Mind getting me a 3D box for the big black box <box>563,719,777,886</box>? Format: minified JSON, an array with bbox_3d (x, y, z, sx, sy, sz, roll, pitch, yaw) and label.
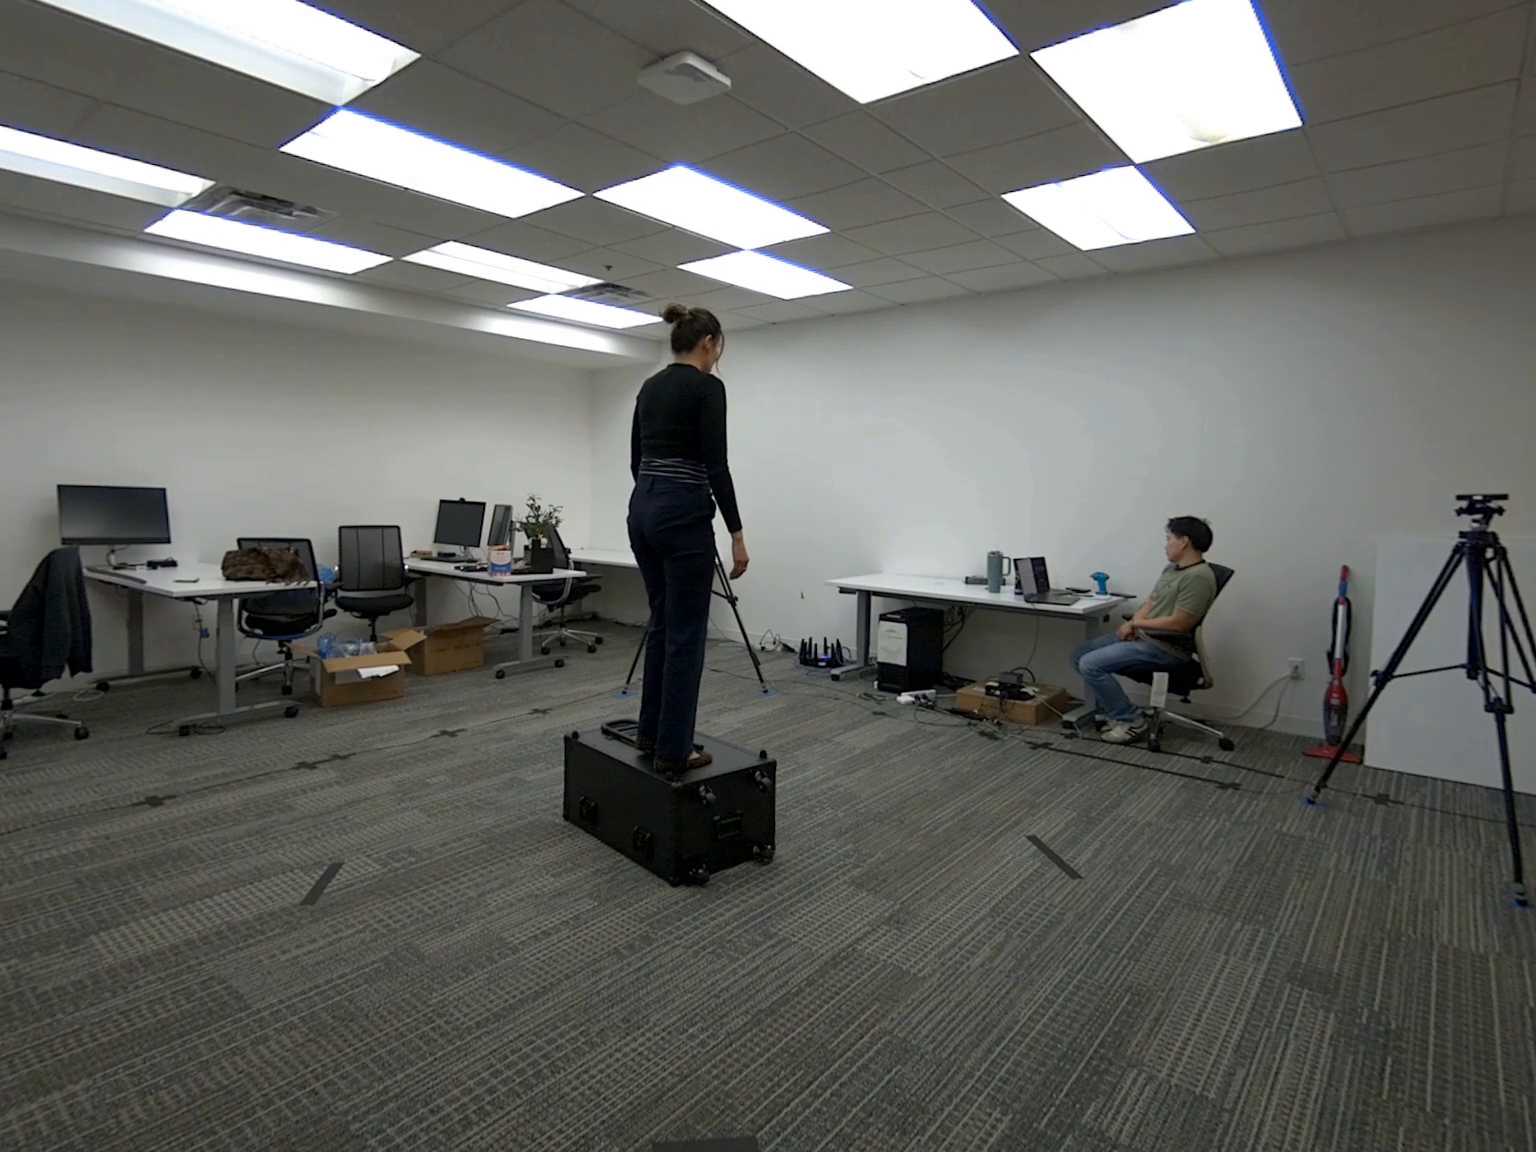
[{"bbox_3d":[-0.442,0.858,3.413,0.506,0.394,0.891,-4,7,-41],"label":"big black box"}]
